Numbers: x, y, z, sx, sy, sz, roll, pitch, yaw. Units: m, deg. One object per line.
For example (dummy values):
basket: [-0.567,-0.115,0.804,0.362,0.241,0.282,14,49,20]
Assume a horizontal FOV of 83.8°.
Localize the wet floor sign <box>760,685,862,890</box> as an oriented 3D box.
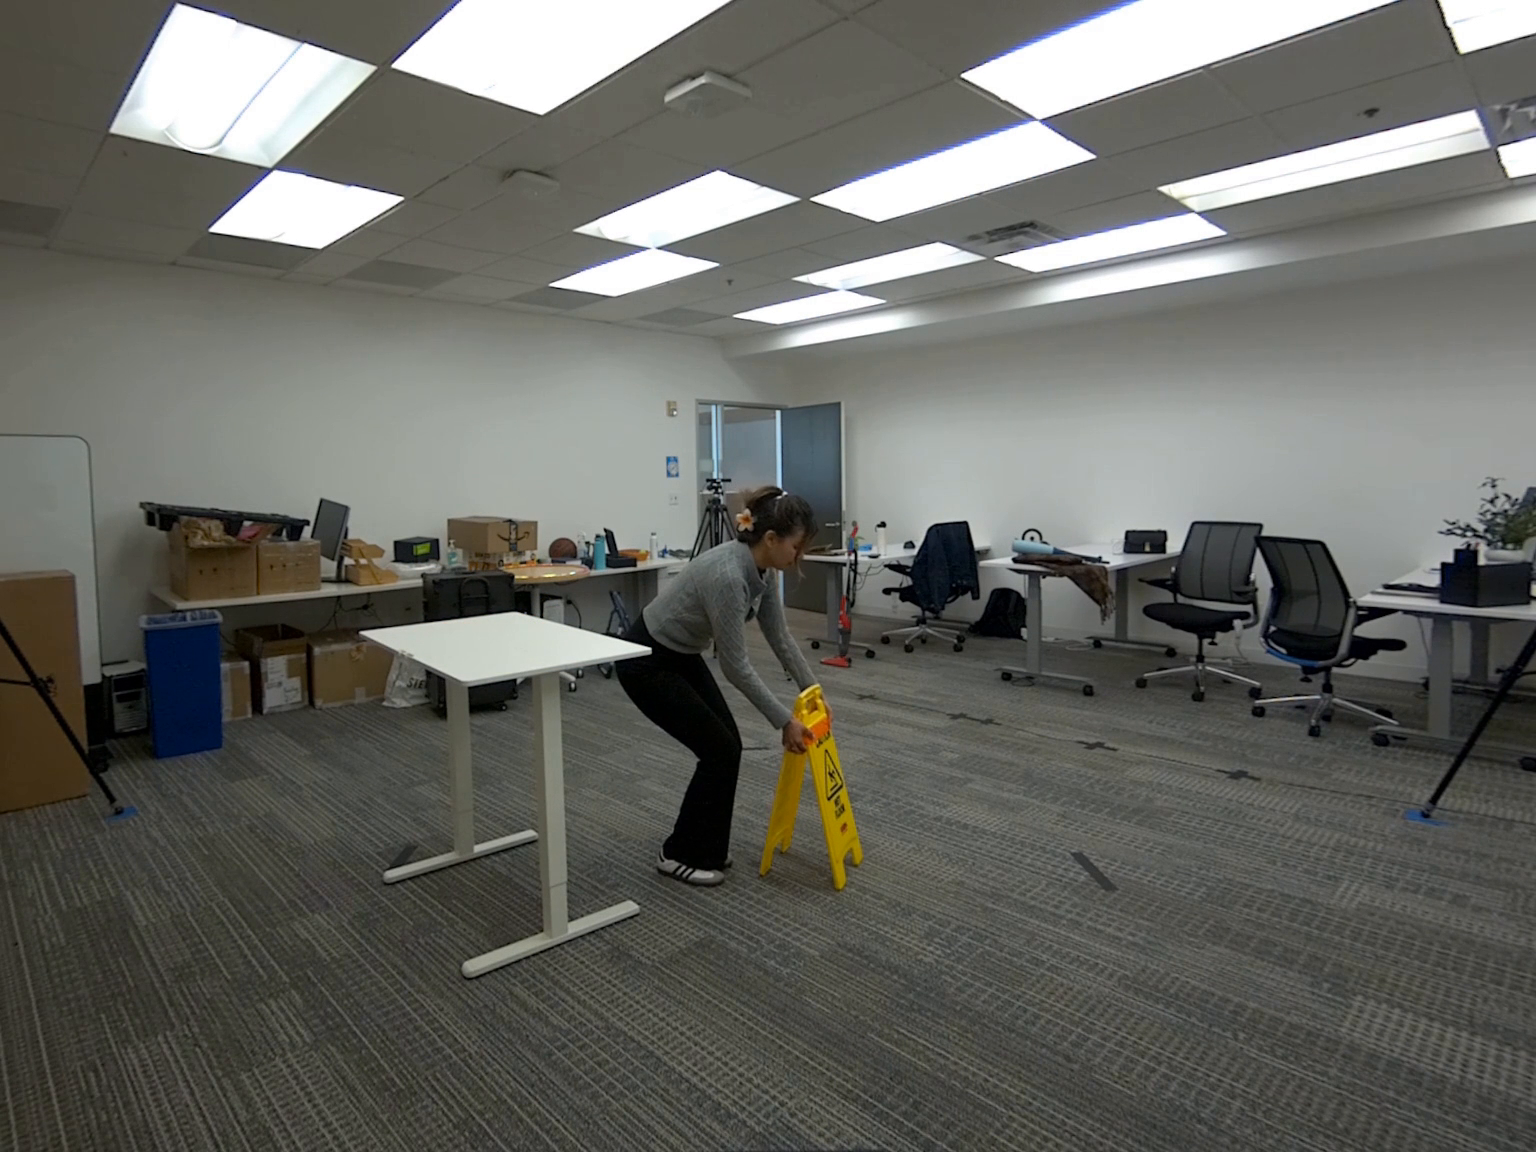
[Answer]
wet floor sign: [0.153,0.716,3.047,0.296,0.643,0.277,1,6,24]
